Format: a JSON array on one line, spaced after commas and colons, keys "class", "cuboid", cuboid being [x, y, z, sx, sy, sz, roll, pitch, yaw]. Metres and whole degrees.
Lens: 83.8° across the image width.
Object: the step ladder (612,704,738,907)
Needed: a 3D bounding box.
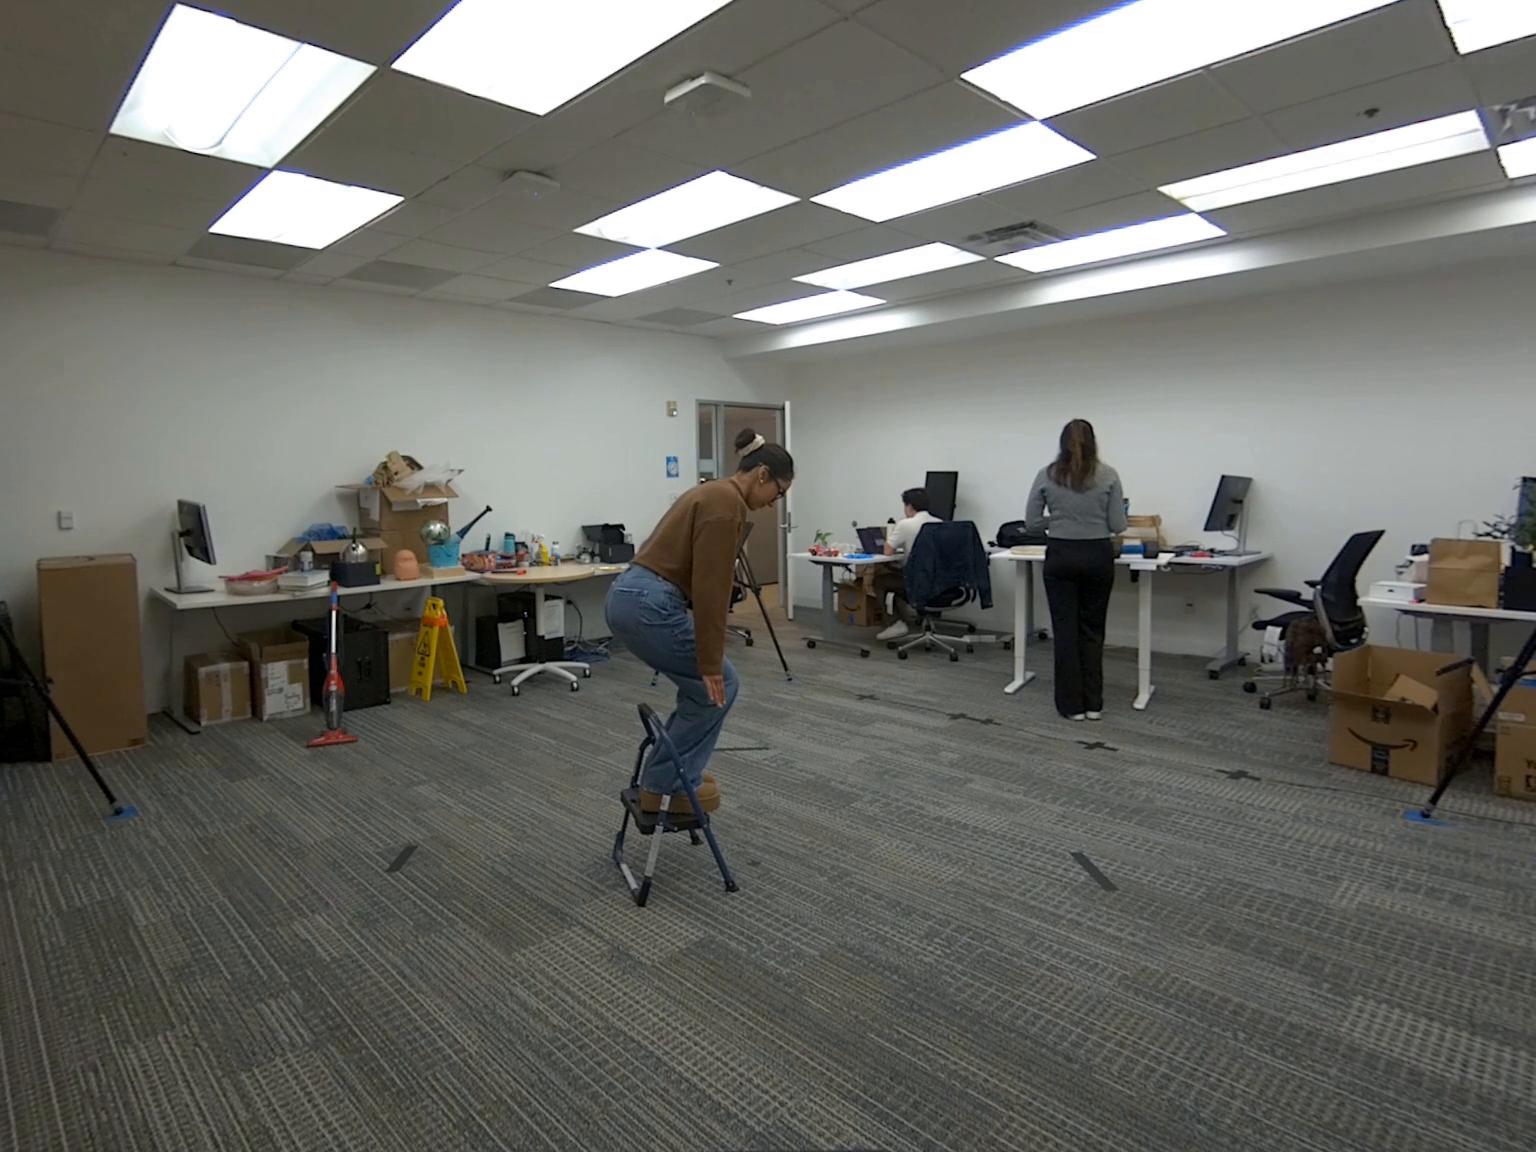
[{"class": "step ladder", "cuboid": [-0.345, 0.759, 3.027, 0.343, 0.604, 0.440, -2, 5, -22]}]
